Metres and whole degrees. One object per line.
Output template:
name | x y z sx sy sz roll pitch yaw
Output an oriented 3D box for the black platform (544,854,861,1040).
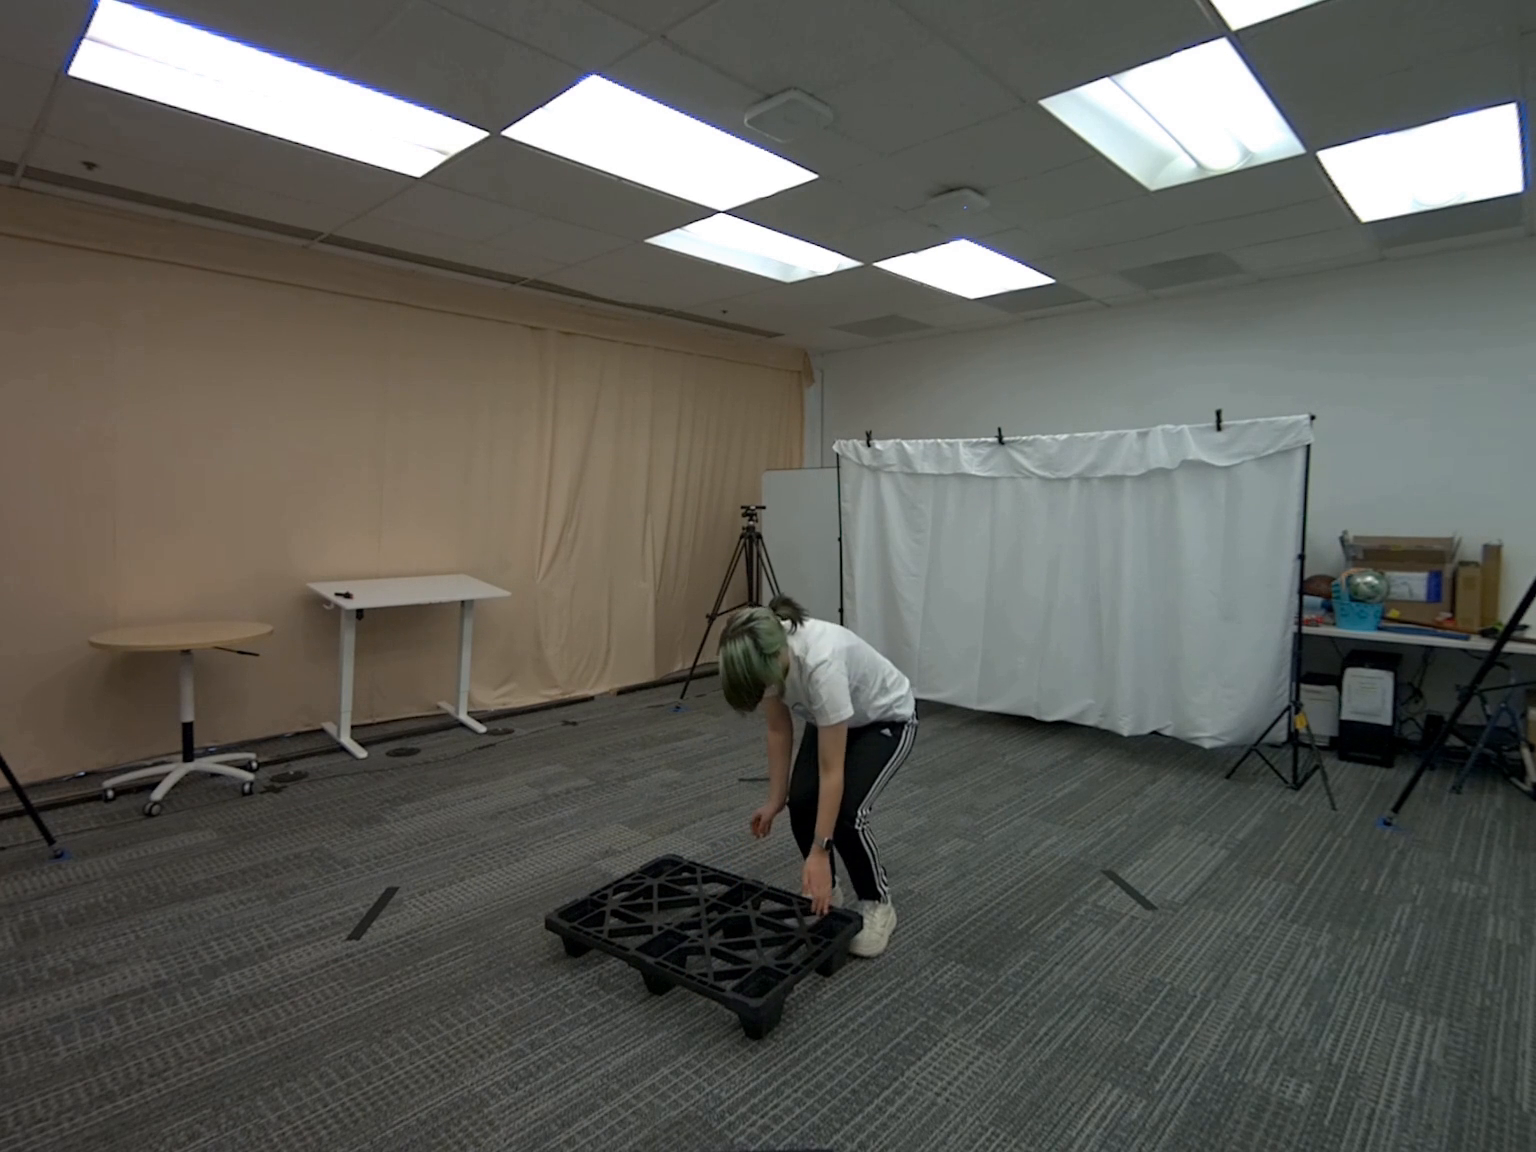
black platform | -0.198 1.112 2.589 0.831 0.143 0.587 4 6 36
